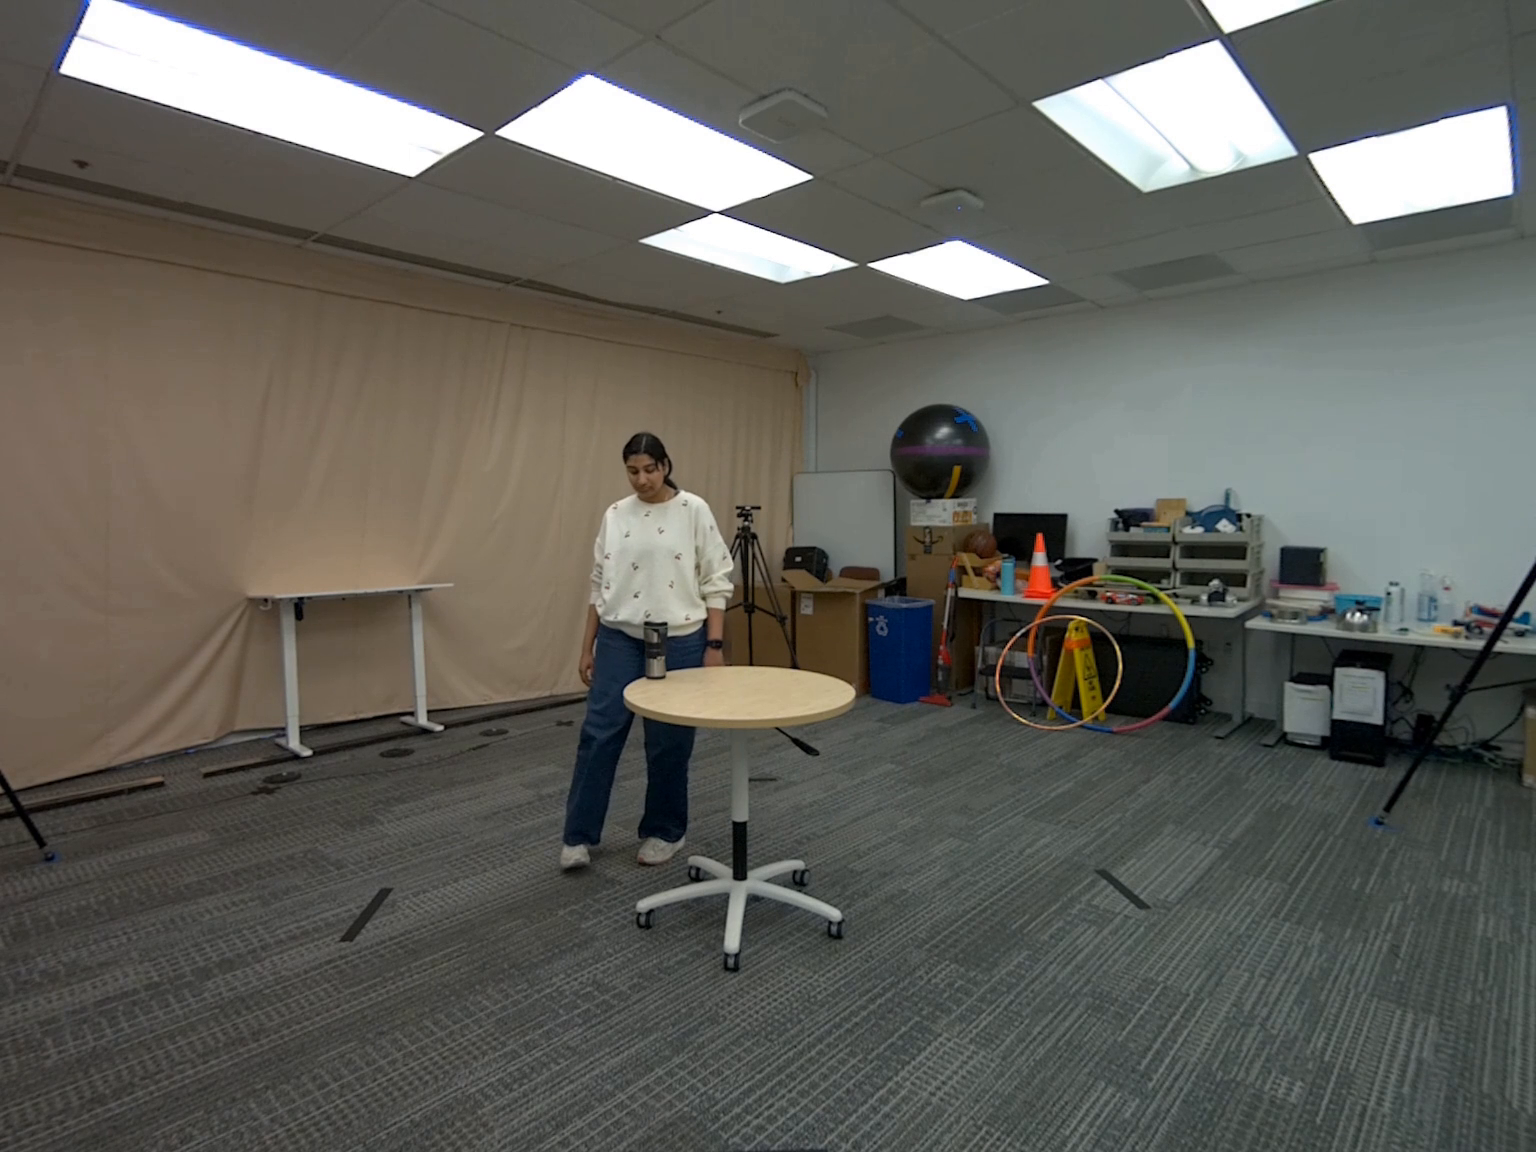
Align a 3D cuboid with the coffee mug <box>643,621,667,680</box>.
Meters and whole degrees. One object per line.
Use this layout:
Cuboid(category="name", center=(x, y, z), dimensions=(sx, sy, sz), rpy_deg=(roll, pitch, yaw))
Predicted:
Cuboid(category="coffee mug", center=(-0.397, 0.262, 2.957), dimensions=(0.088, 0.203, 0.122), rpy_deg=(4, 0, 1))
